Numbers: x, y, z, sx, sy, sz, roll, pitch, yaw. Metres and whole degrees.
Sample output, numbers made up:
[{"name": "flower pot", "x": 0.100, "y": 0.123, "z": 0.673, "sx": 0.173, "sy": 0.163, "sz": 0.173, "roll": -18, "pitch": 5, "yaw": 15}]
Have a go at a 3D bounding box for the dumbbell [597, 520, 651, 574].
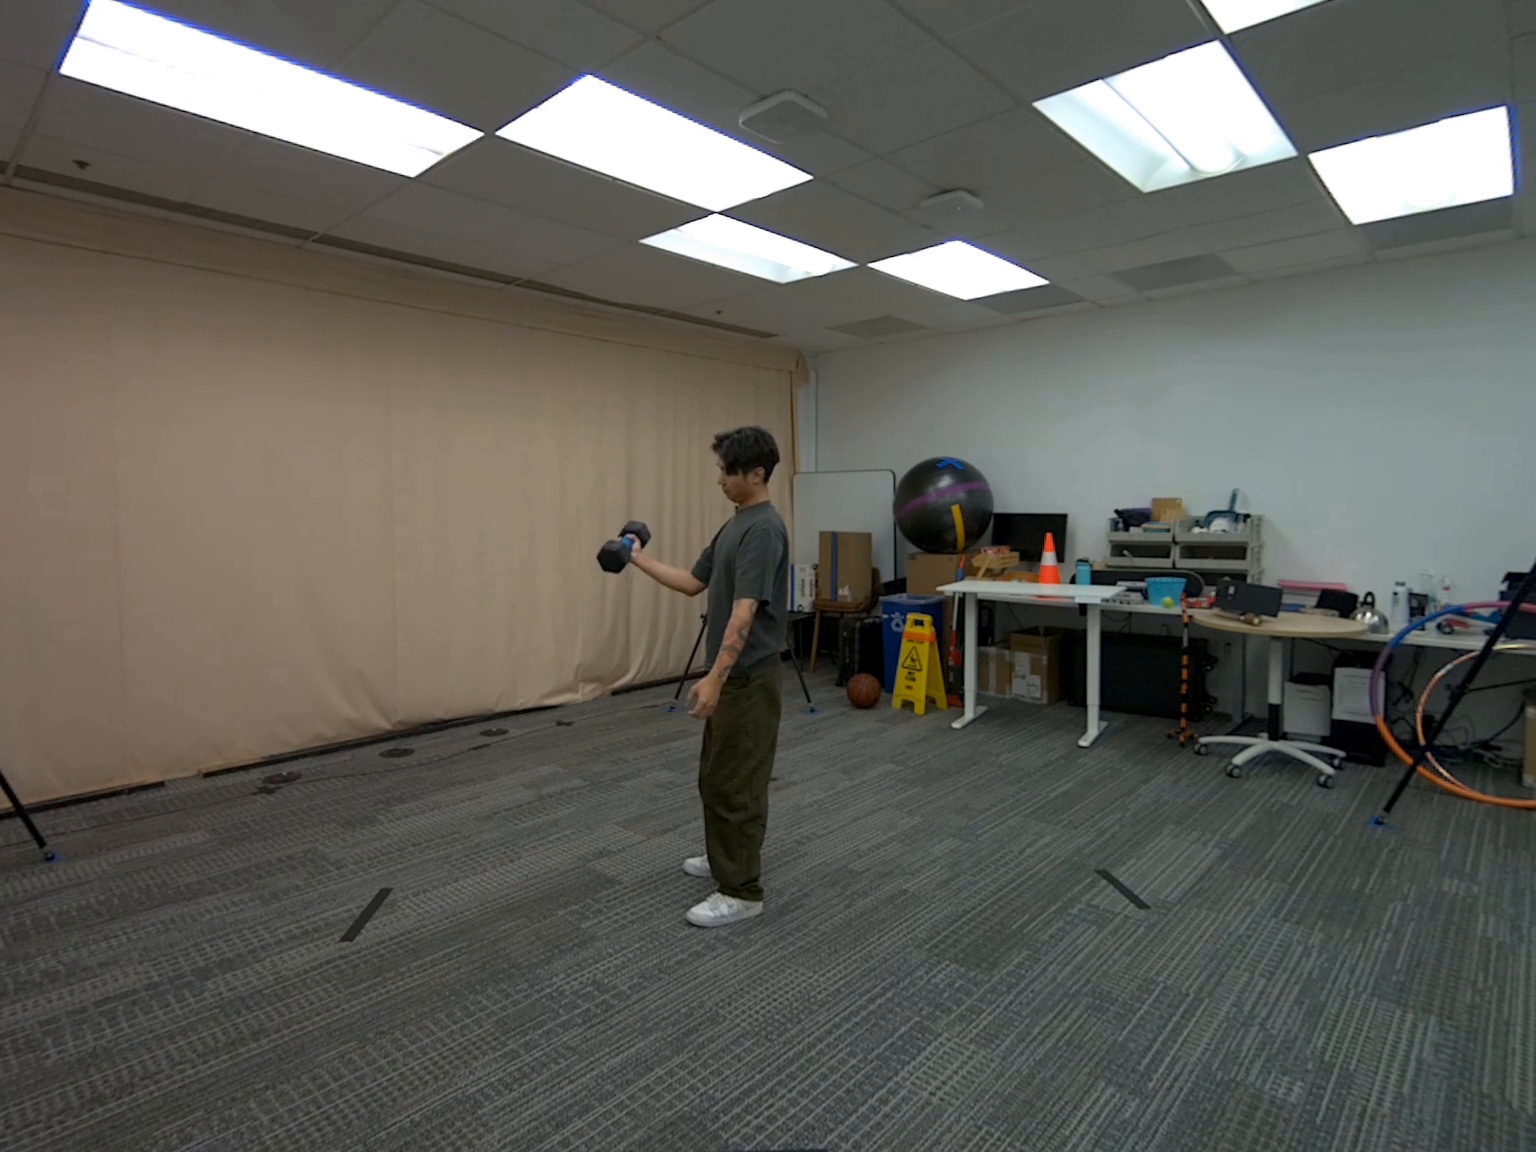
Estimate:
[{"name": "dumbbell", "x": -0.544, "y": -0.107, "z": 3.233, "sx": 0.110, "sy": 0.121, "sz": 0.293, "roll": -19, "pitch": 17, "yaw": 20}]
